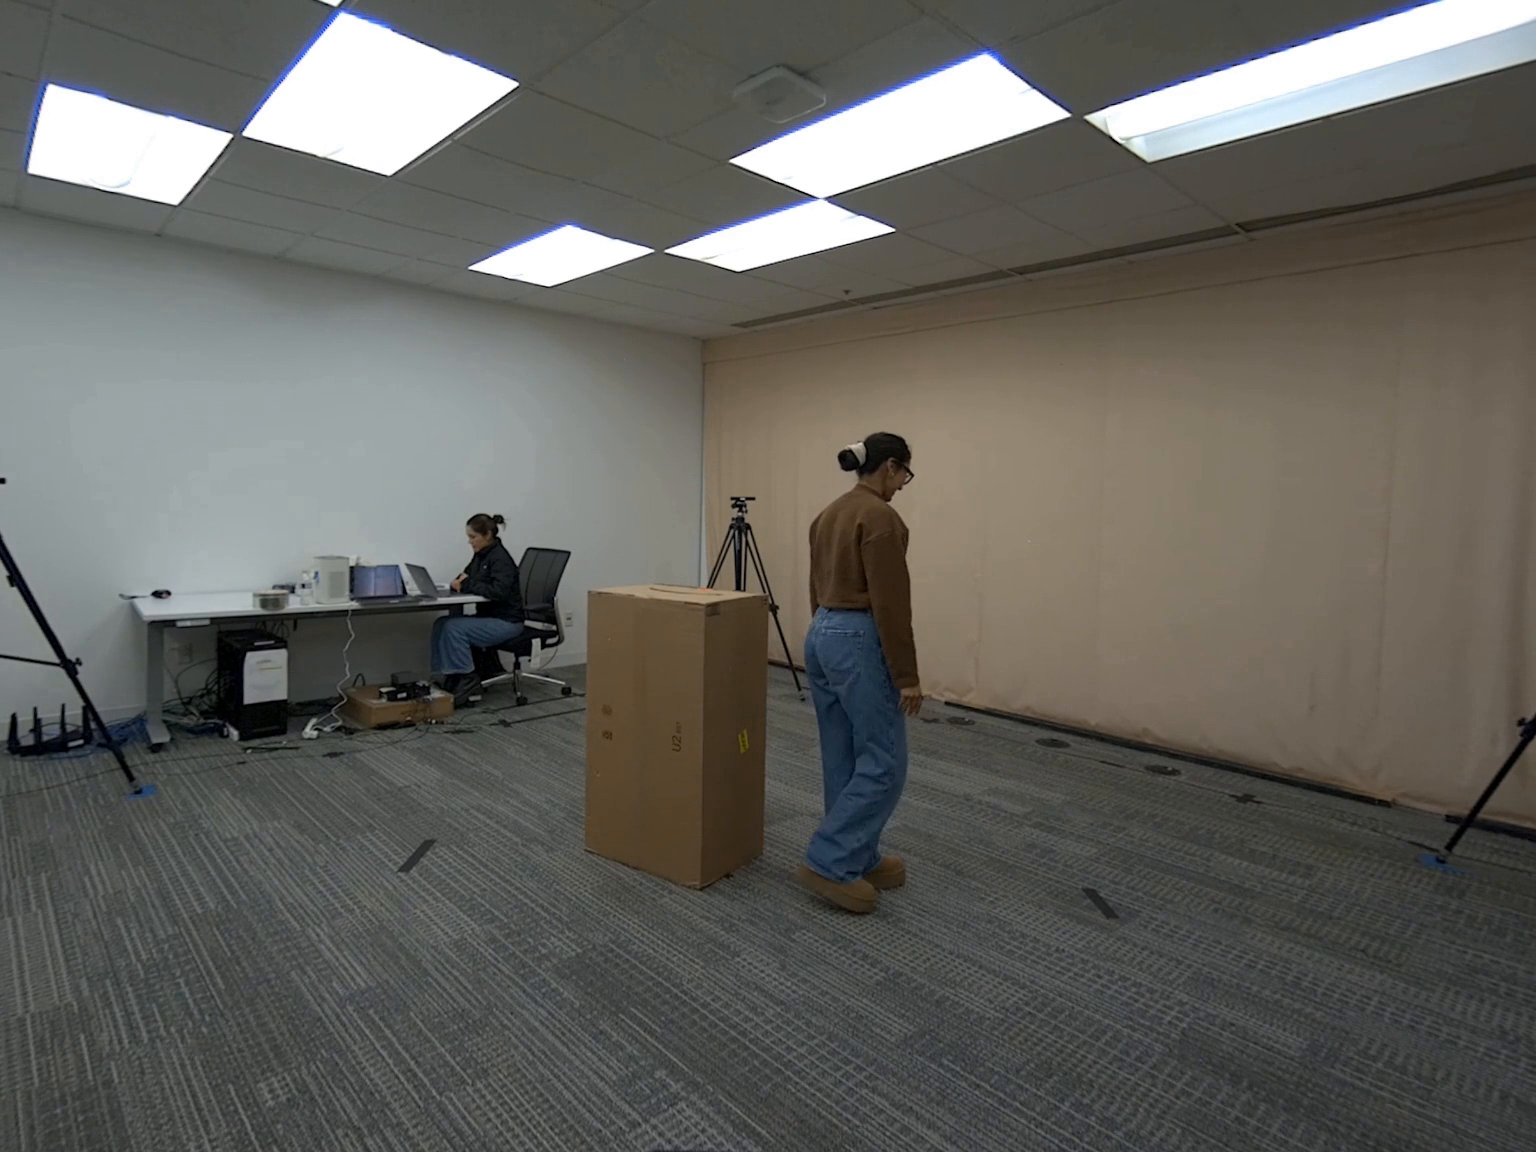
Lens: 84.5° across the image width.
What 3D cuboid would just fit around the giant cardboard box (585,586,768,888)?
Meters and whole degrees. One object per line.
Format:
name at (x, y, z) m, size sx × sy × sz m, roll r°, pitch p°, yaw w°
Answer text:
giant cardboard box at (-0.362, 0.578, 3.295) m, size 0.597 × 1.025 × 0.437 m, roll 3°, pitch 4°, yaw 33°
